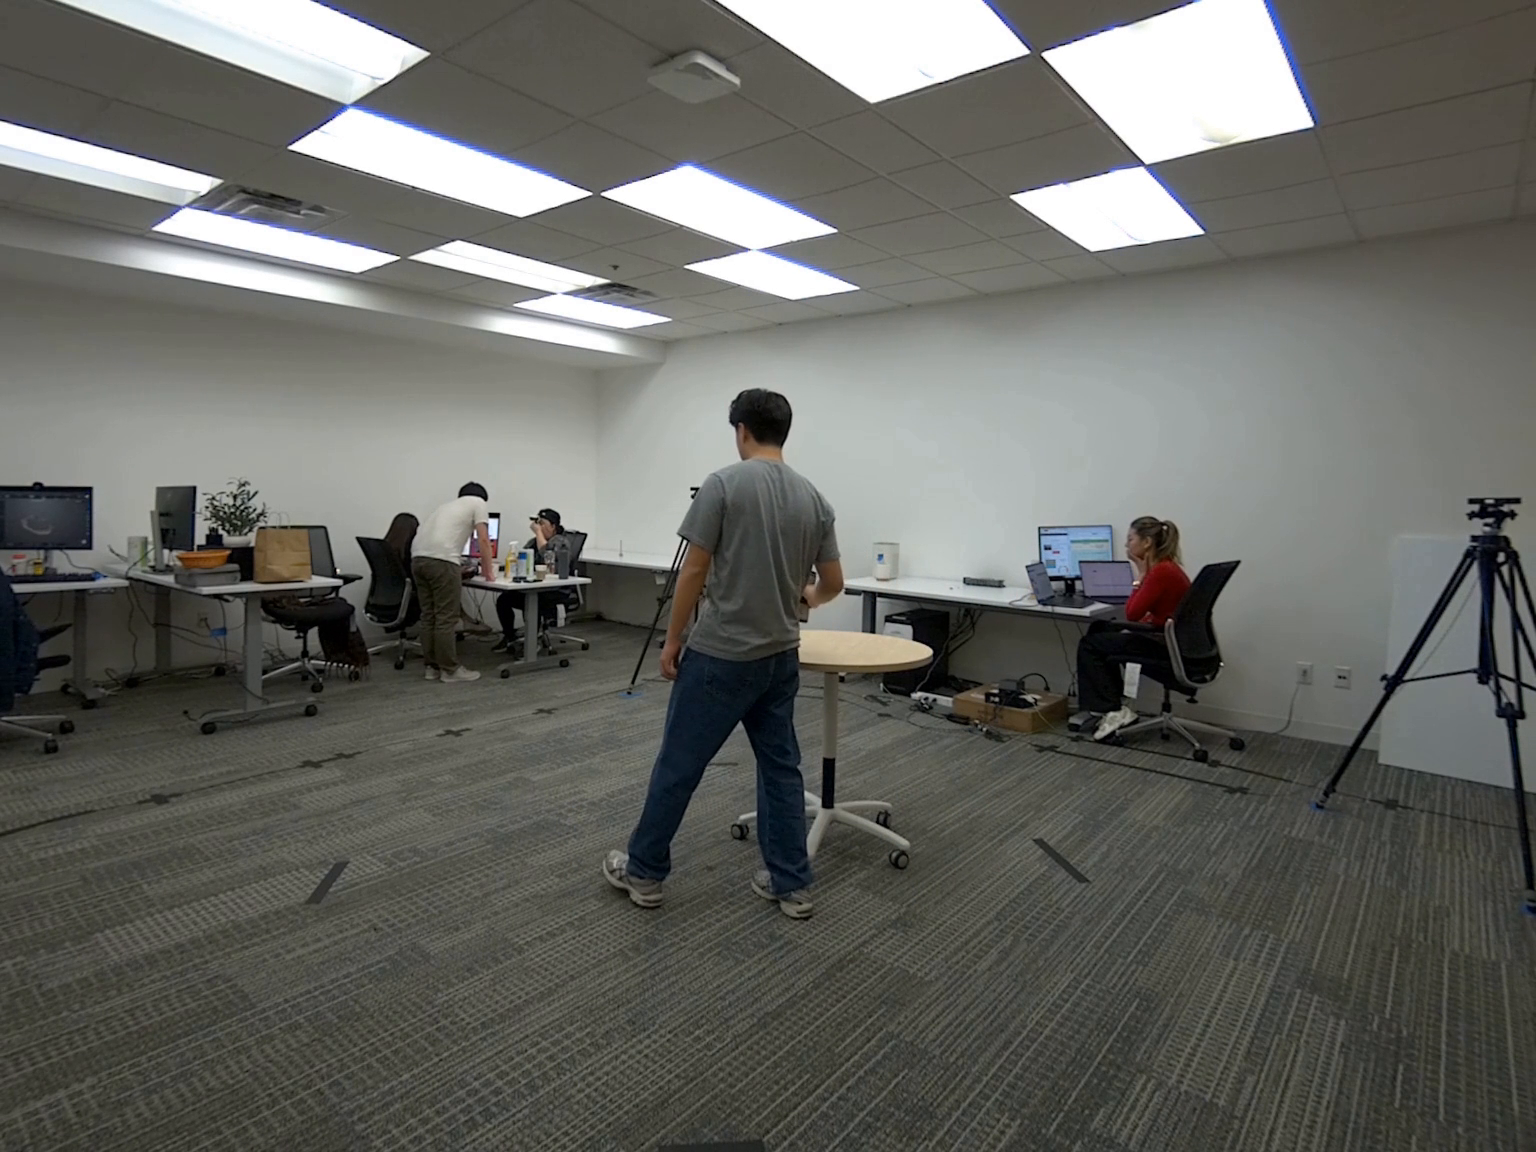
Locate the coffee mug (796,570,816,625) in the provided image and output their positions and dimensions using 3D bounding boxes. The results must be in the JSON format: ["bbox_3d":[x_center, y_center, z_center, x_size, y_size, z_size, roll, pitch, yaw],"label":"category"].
[{"bbox_3d":[0.097,0.065,3.231,0.122,0.203,0.087,10,2,3],"label":"coffee mug"}]
